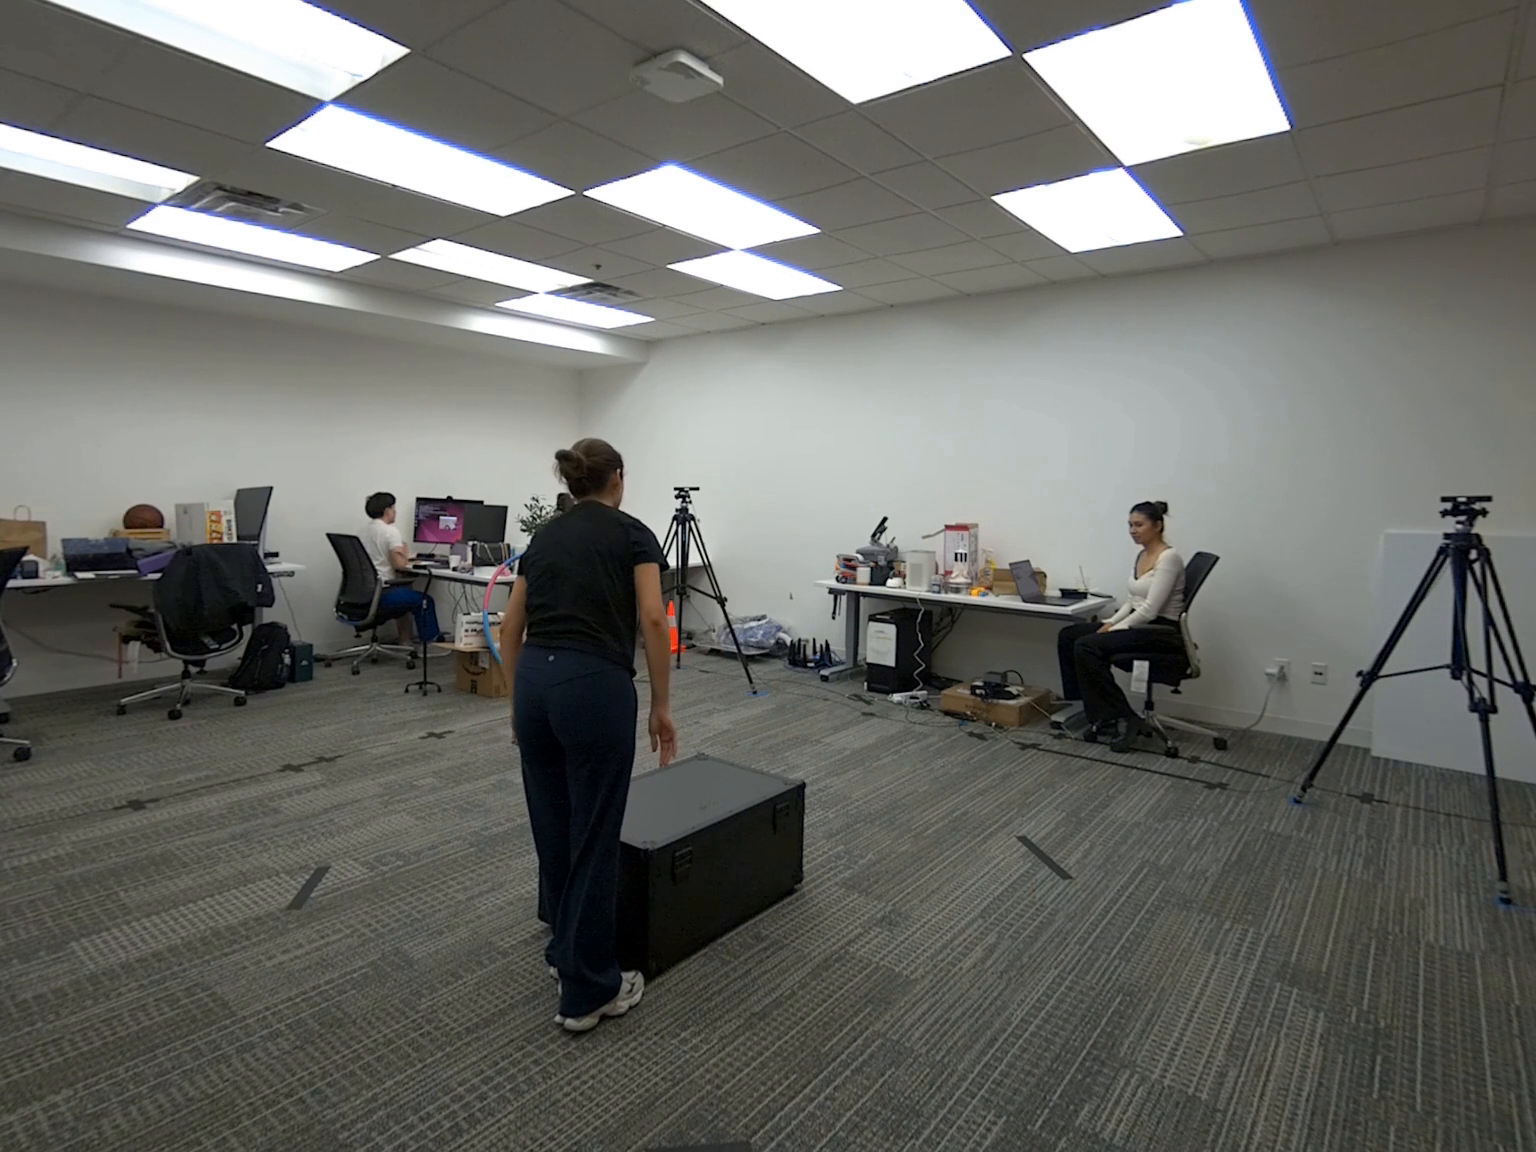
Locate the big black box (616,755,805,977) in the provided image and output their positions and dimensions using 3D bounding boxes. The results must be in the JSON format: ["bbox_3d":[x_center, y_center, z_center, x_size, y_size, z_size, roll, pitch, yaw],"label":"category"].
[{"bbox_3d":[-0.267,0.883,2.853,0.538,0.395,0.836,4,6,38],"label":"big black box"}]
